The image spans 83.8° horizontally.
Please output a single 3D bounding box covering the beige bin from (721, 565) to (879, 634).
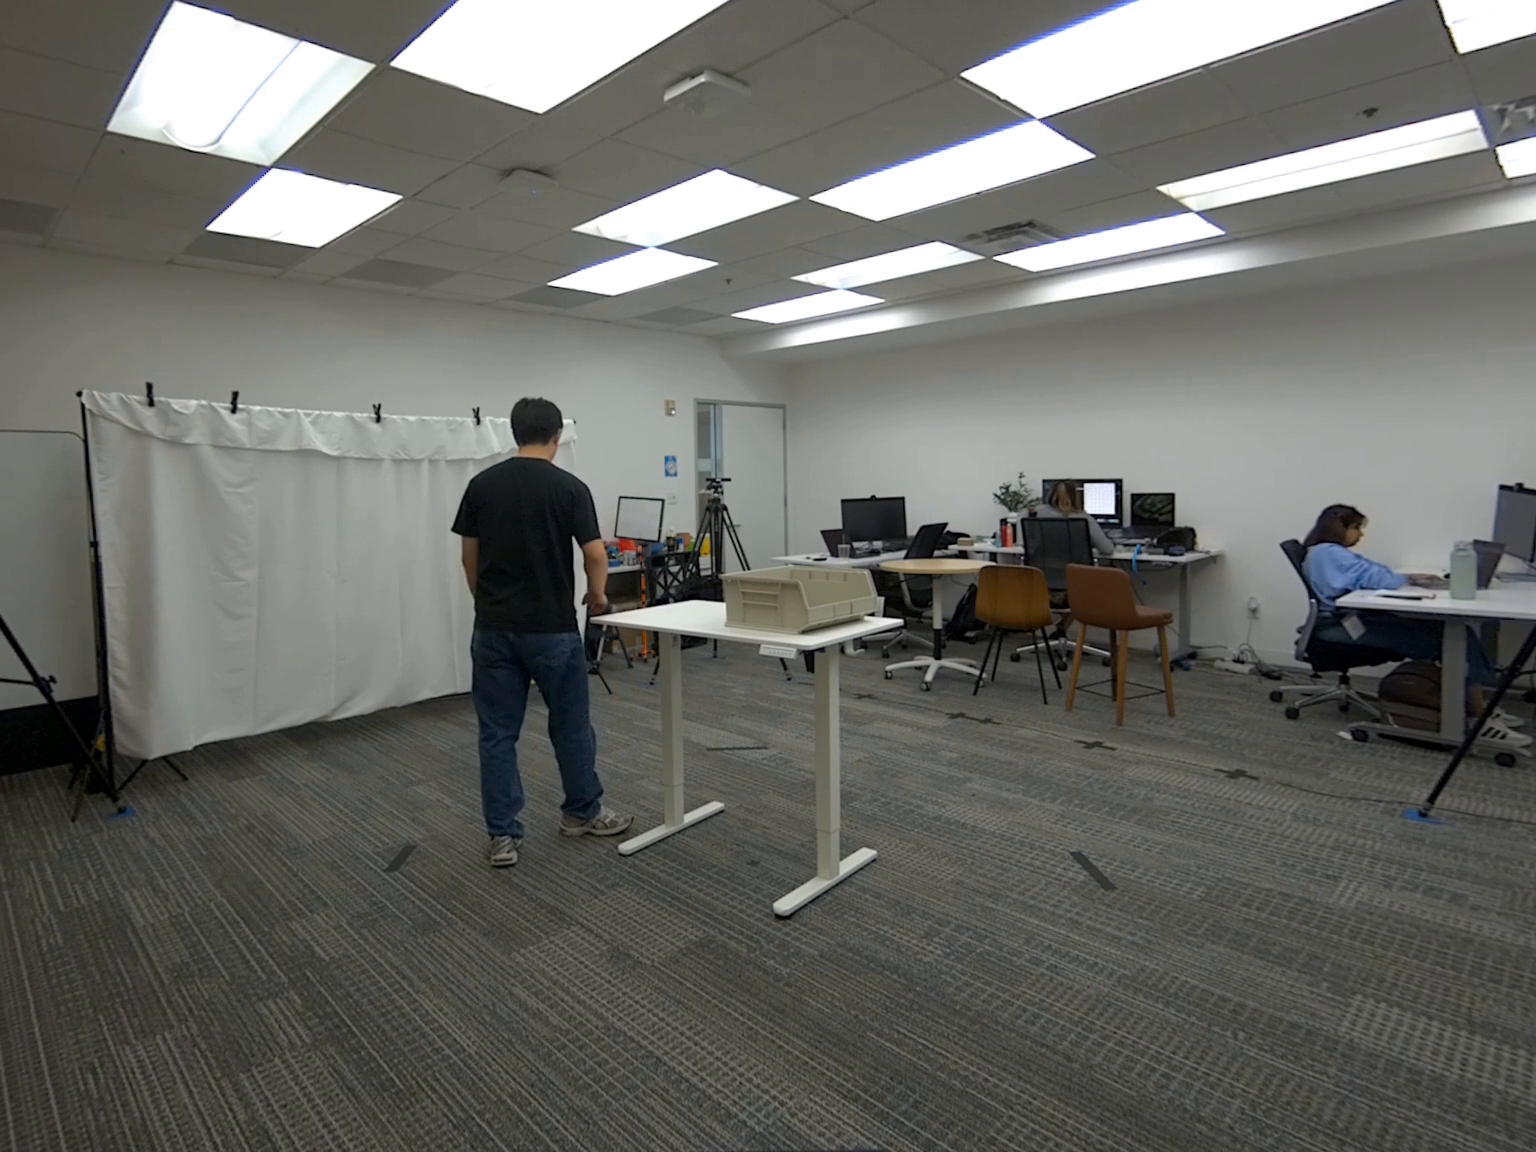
[{"bbox_3d":[0.117,0.080,2.991,0.388,0.188,0.411,2,6,41],"label":"beige bin"}]
